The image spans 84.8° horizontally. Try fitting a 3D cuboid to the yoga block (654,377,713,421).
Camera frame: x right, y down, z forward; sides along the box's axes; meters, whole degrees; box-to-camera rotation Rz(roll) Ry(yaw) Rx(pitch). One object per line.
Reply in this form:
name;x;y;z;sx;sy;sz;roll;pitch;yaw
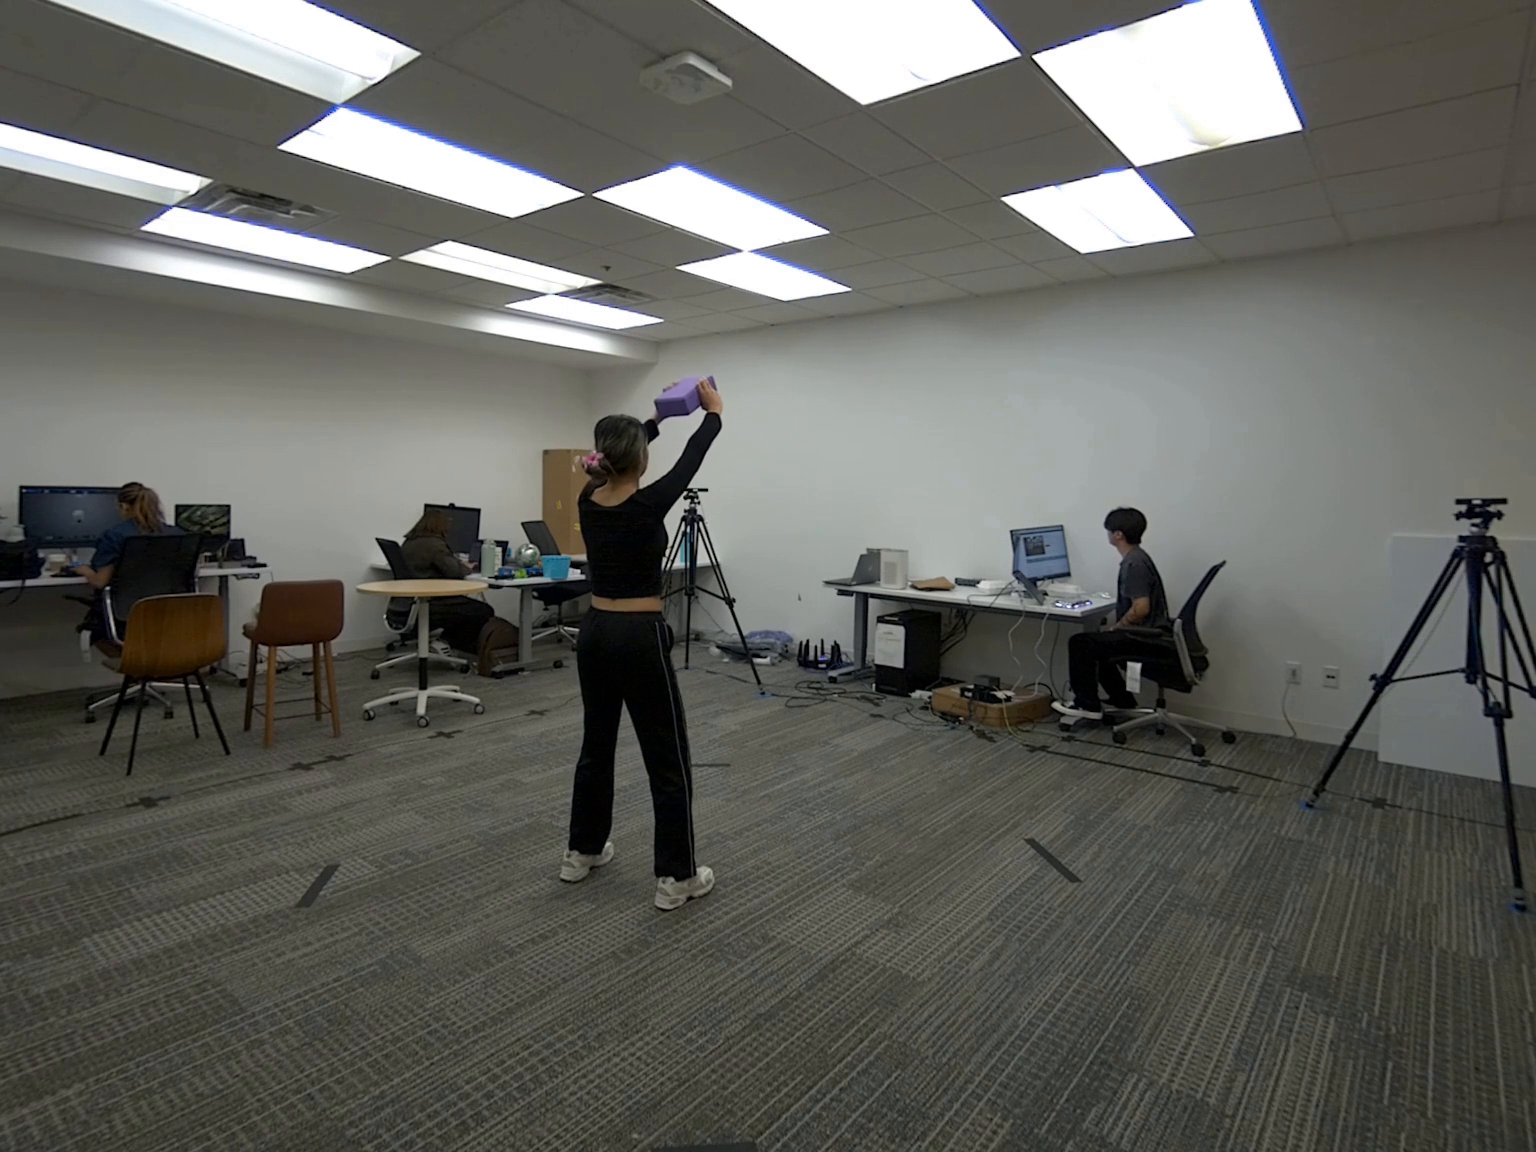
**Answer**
yoga block;-0.327;-0.689;3.263;0.153;0.074;0.229;3;34;31
